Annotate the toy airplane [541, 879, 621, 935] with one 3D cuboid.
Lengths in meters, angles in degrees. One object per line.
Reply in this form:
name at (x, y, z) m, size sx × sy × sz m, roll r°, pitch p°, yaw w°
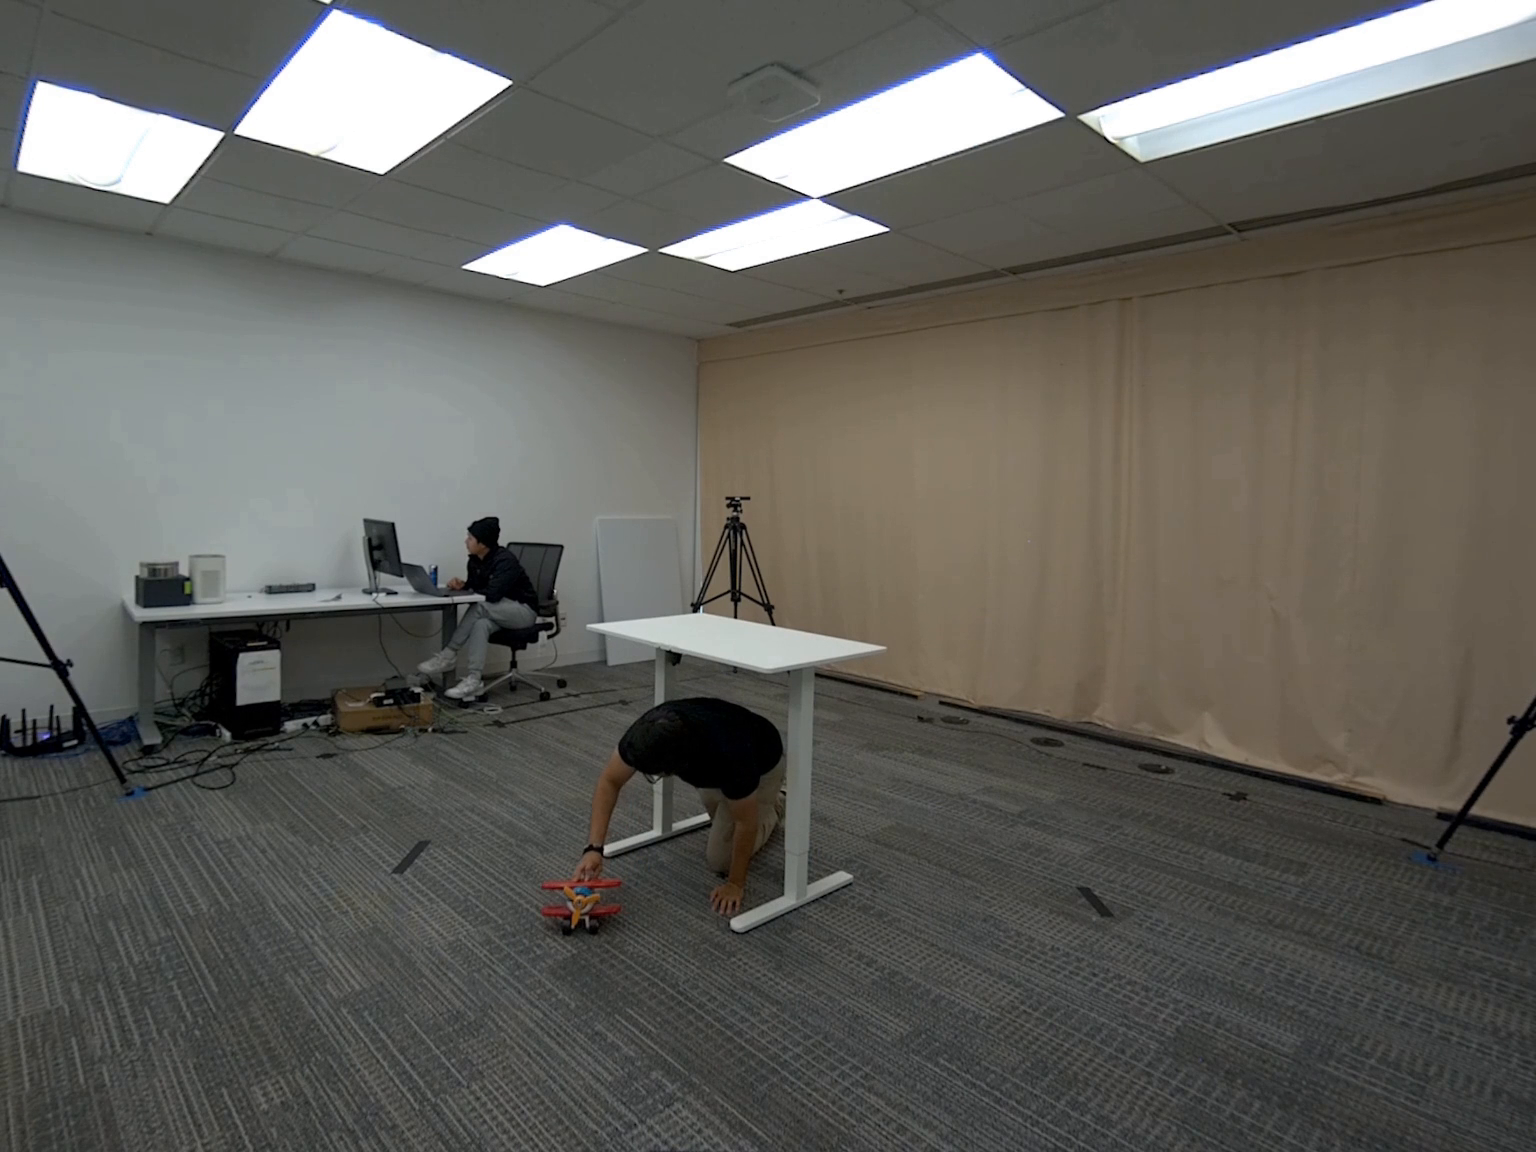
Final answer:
toy airplane at (-0.627, 1.055, 2.745) m, size 0.246 × 0.156 × 0.266 m, roll -2°, pitch 7°, yaw -35°
